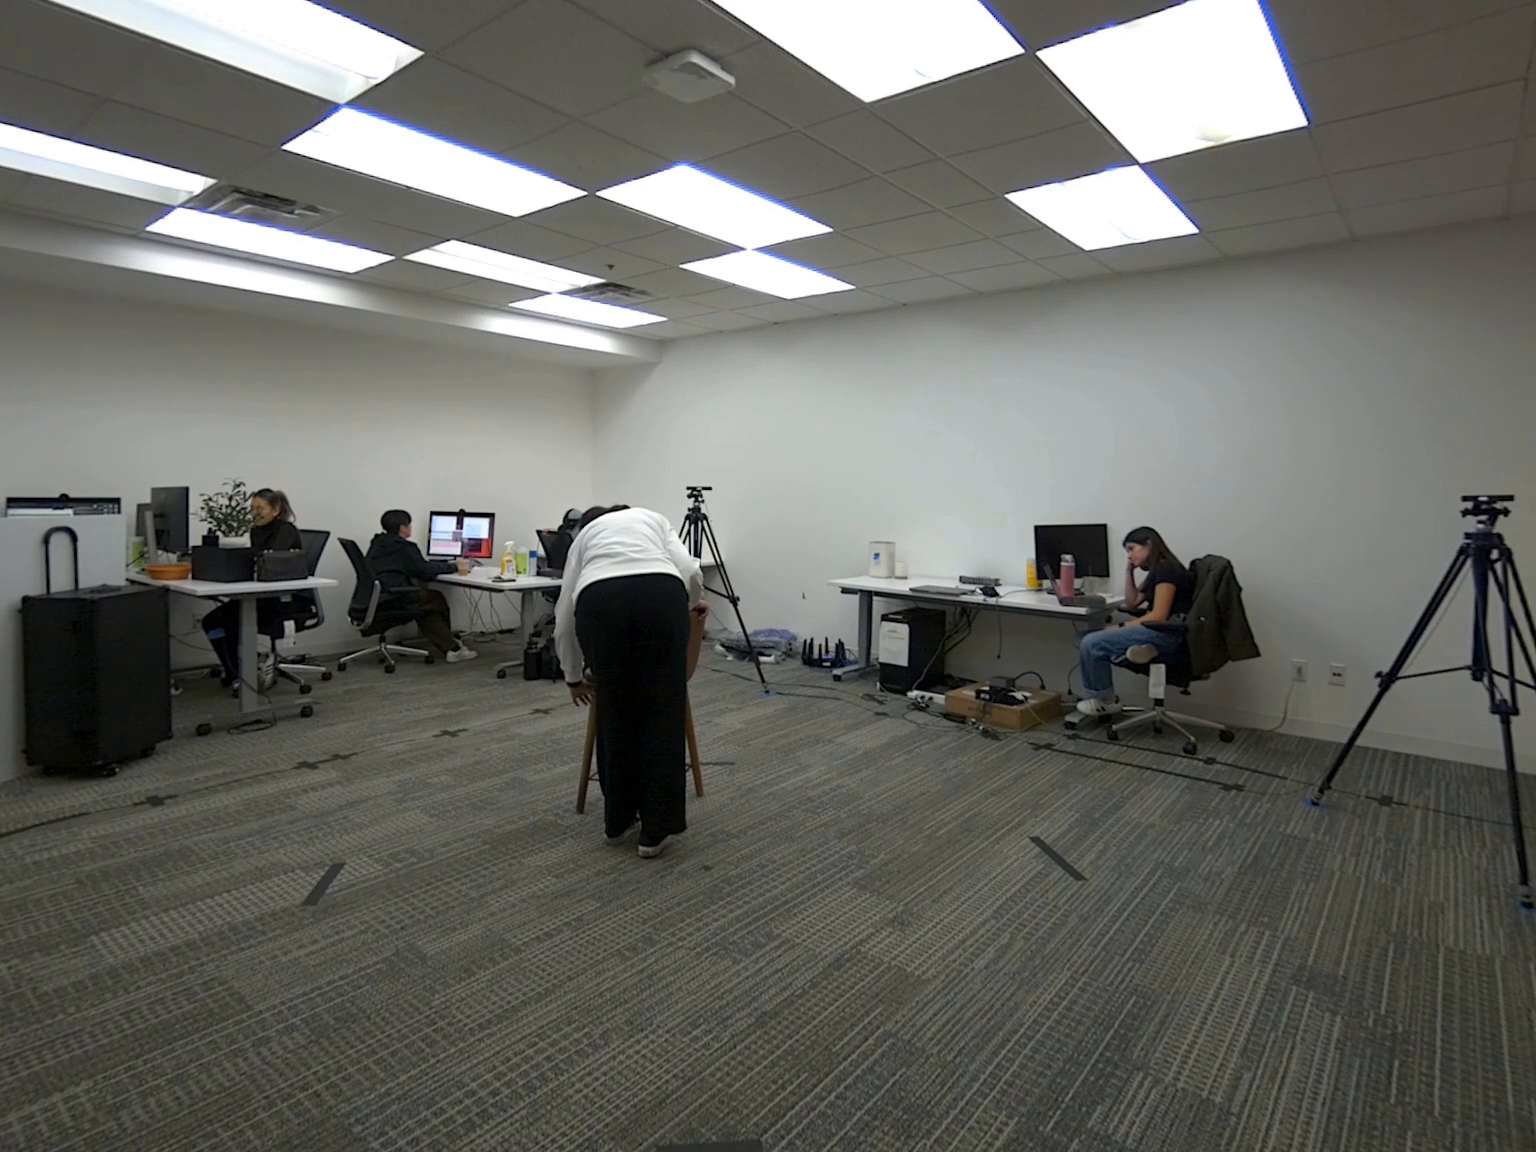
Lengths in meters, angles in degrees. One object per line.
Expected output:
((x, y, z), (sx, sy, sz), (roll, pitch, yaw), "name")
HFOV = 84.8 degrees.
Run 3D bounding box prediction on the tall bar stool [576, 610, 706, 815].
((-0.530, 0.560, 3.719), (0.476, 0.887, 0.450), (4, 4, 15), "tall bar stool")
